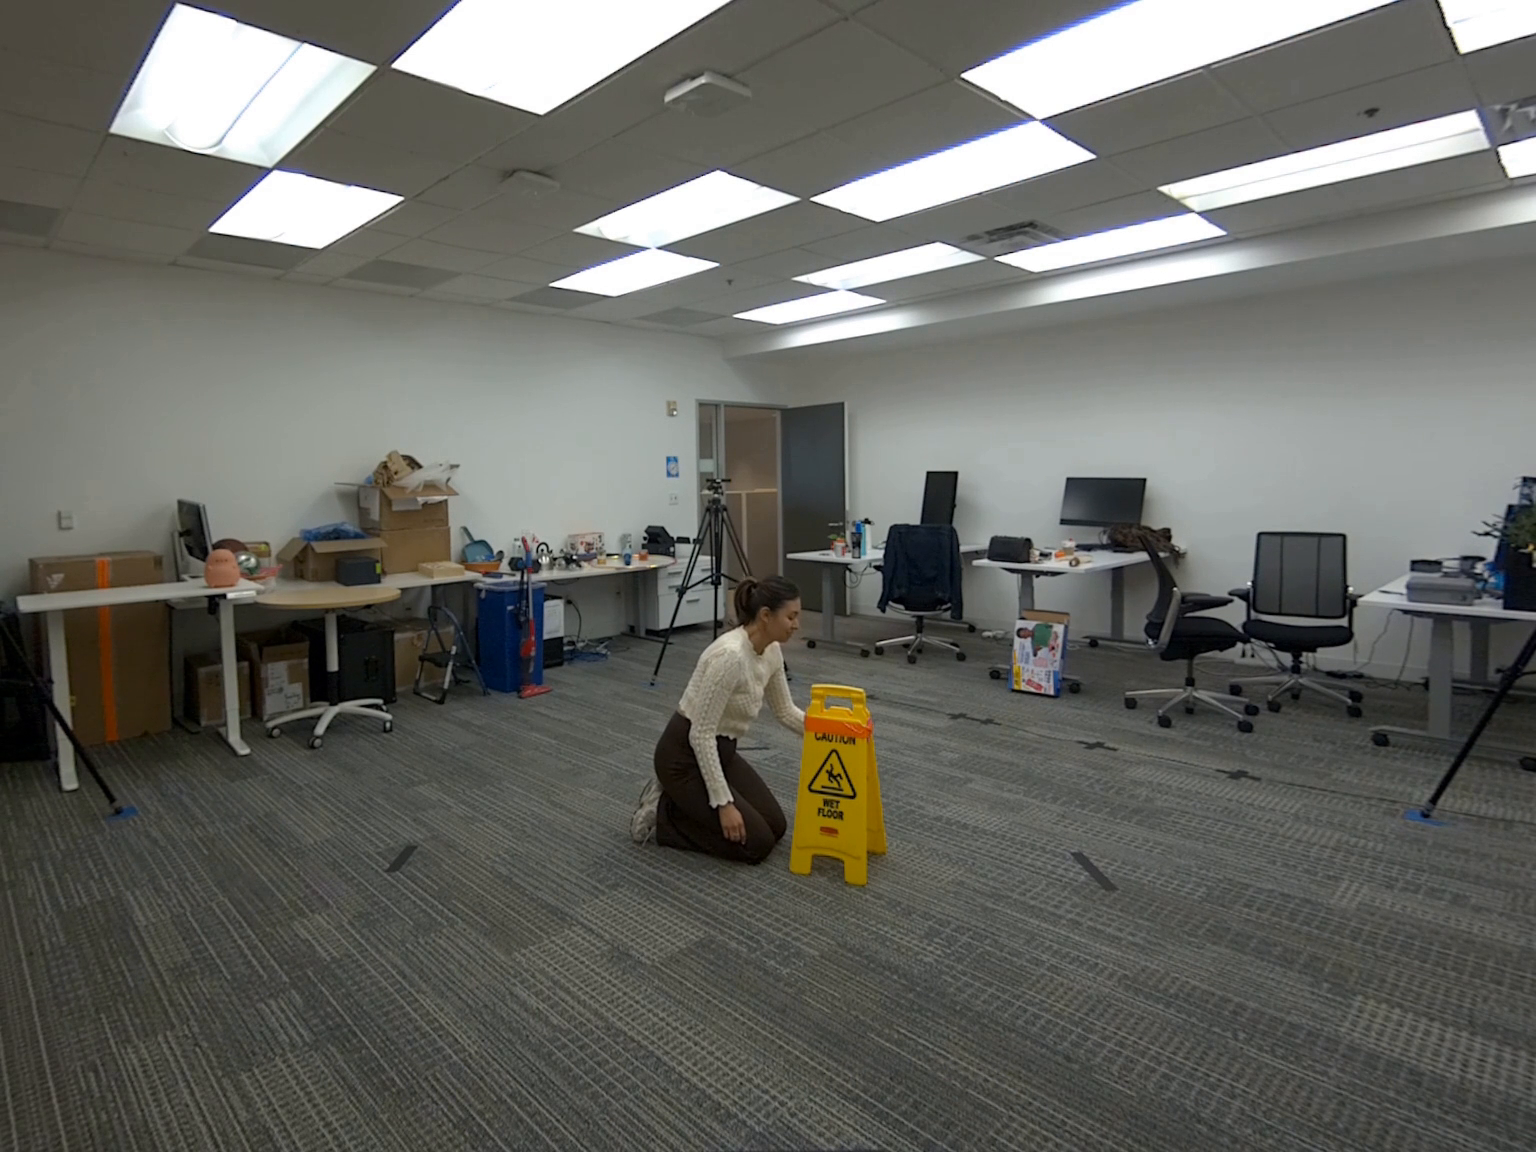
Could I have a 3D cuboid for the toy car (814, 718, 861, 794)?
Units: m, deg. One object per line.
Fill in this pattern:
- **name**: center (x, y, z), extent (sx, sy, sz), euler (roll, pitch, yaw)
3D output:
- **toy car**: center (0.258, 0.666, 3.180), extent (0.134, 0.248, 0.083), euler (7, 31, 26)
